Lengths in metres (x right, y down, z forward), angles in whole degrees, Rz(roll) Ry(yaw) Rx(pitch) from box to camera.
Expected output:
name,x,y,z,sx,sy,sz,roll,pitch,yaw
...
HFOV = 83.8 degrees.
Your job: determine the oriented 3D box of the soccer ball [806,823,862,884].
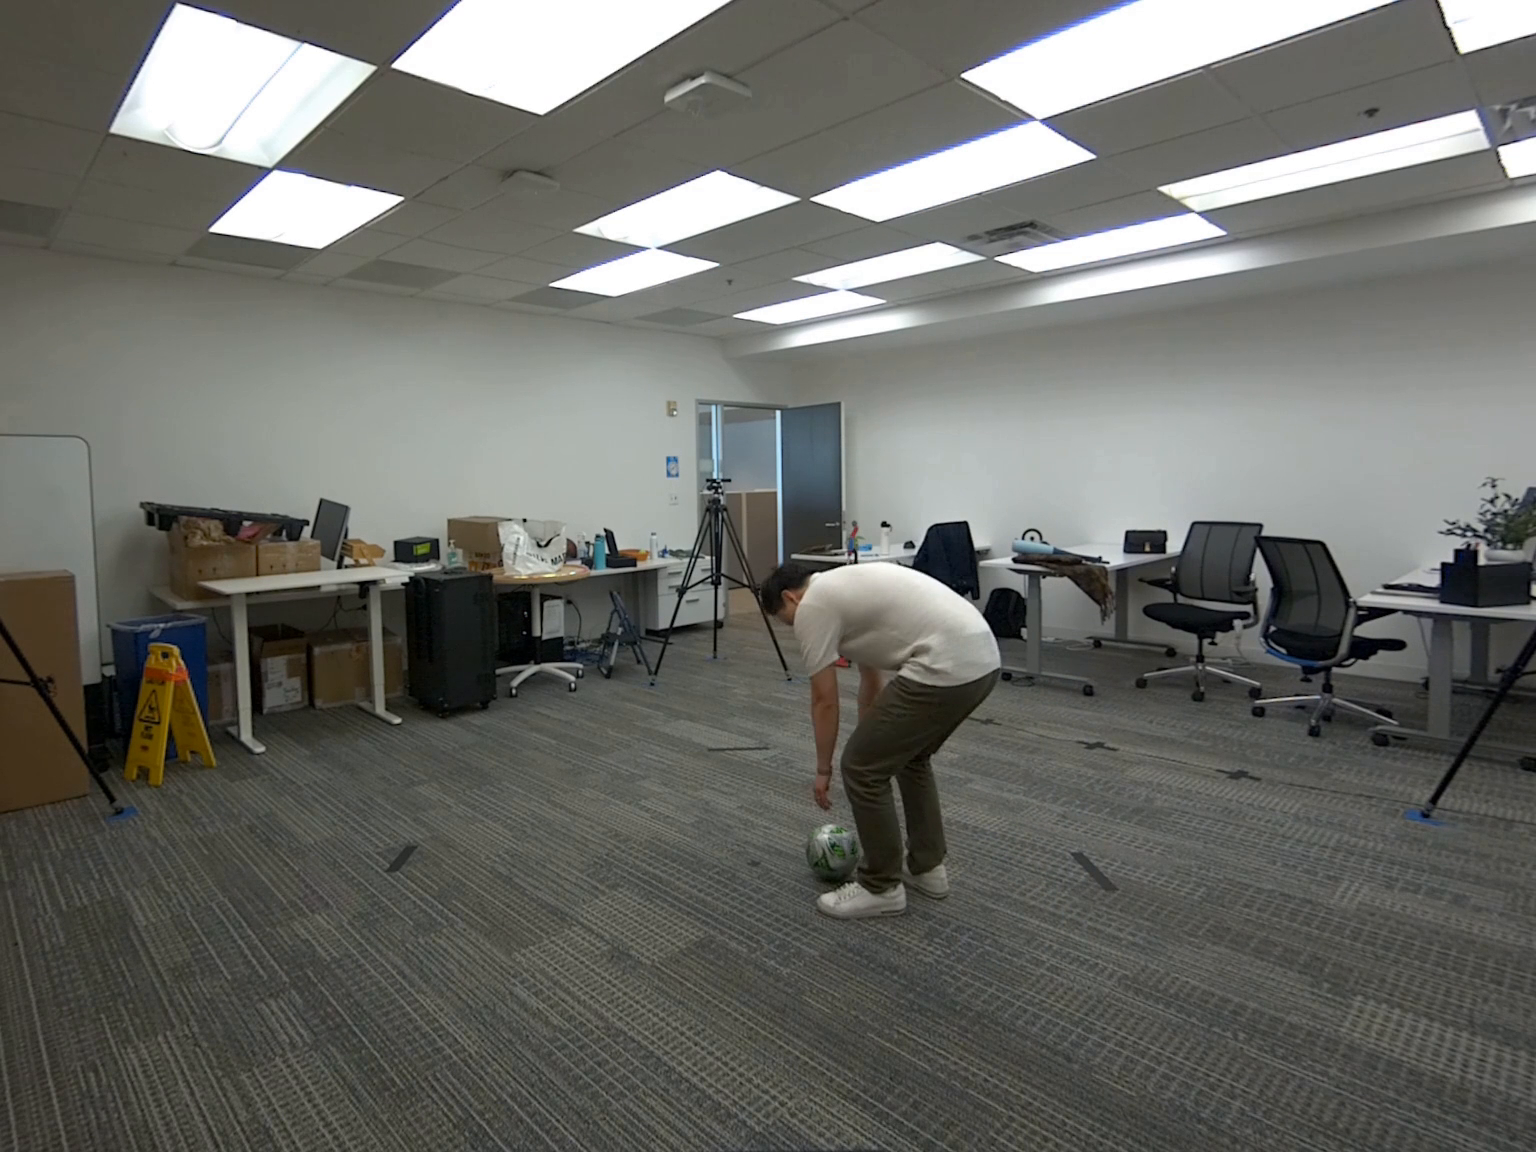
name,x,y,z,sx,sy,sz,roll,pitch,yaw
soccer ball,0.225,0.962,2.983,0.187,0.187,0.188,-1,5,-2
